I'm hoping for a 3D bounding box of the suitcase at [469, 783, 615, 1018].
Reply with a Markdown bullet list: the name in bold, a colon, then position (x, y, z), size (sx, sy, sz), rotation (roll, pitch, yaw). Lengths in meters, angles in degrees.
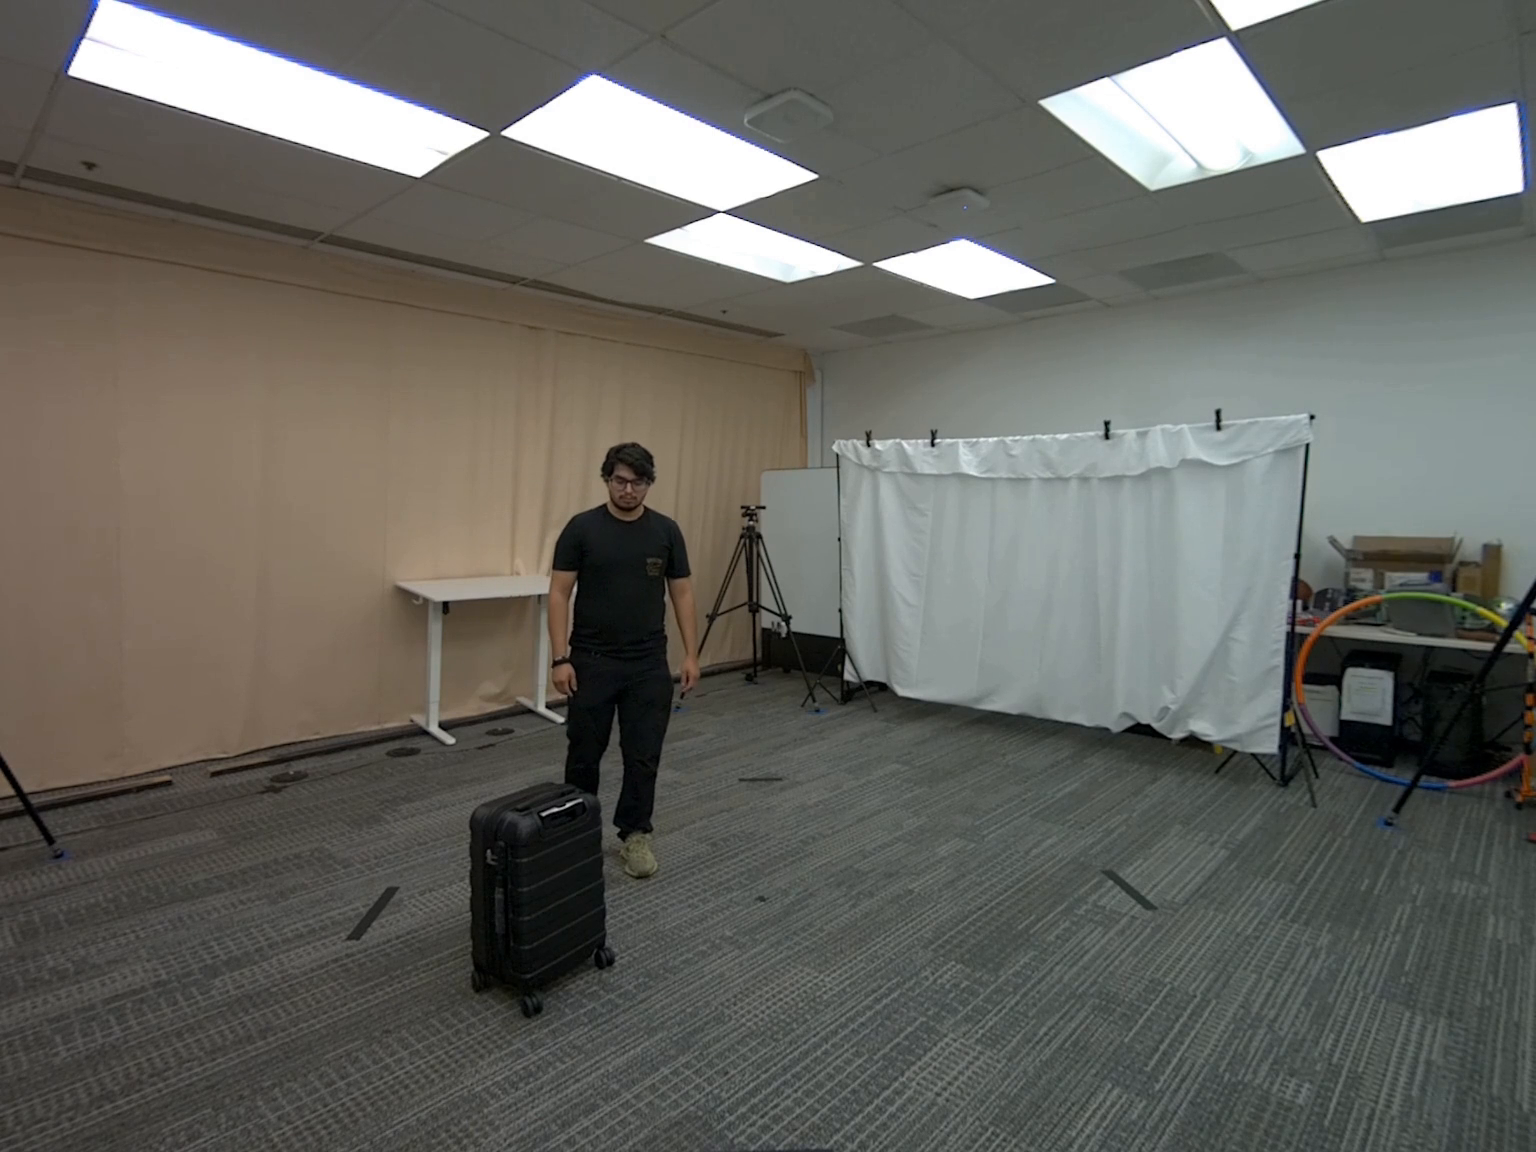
- **suitcase**: position (-0.677, 0.914, 2.496), size (0.255, 0.549, 0.365), rotation (-1, 0, 32)
